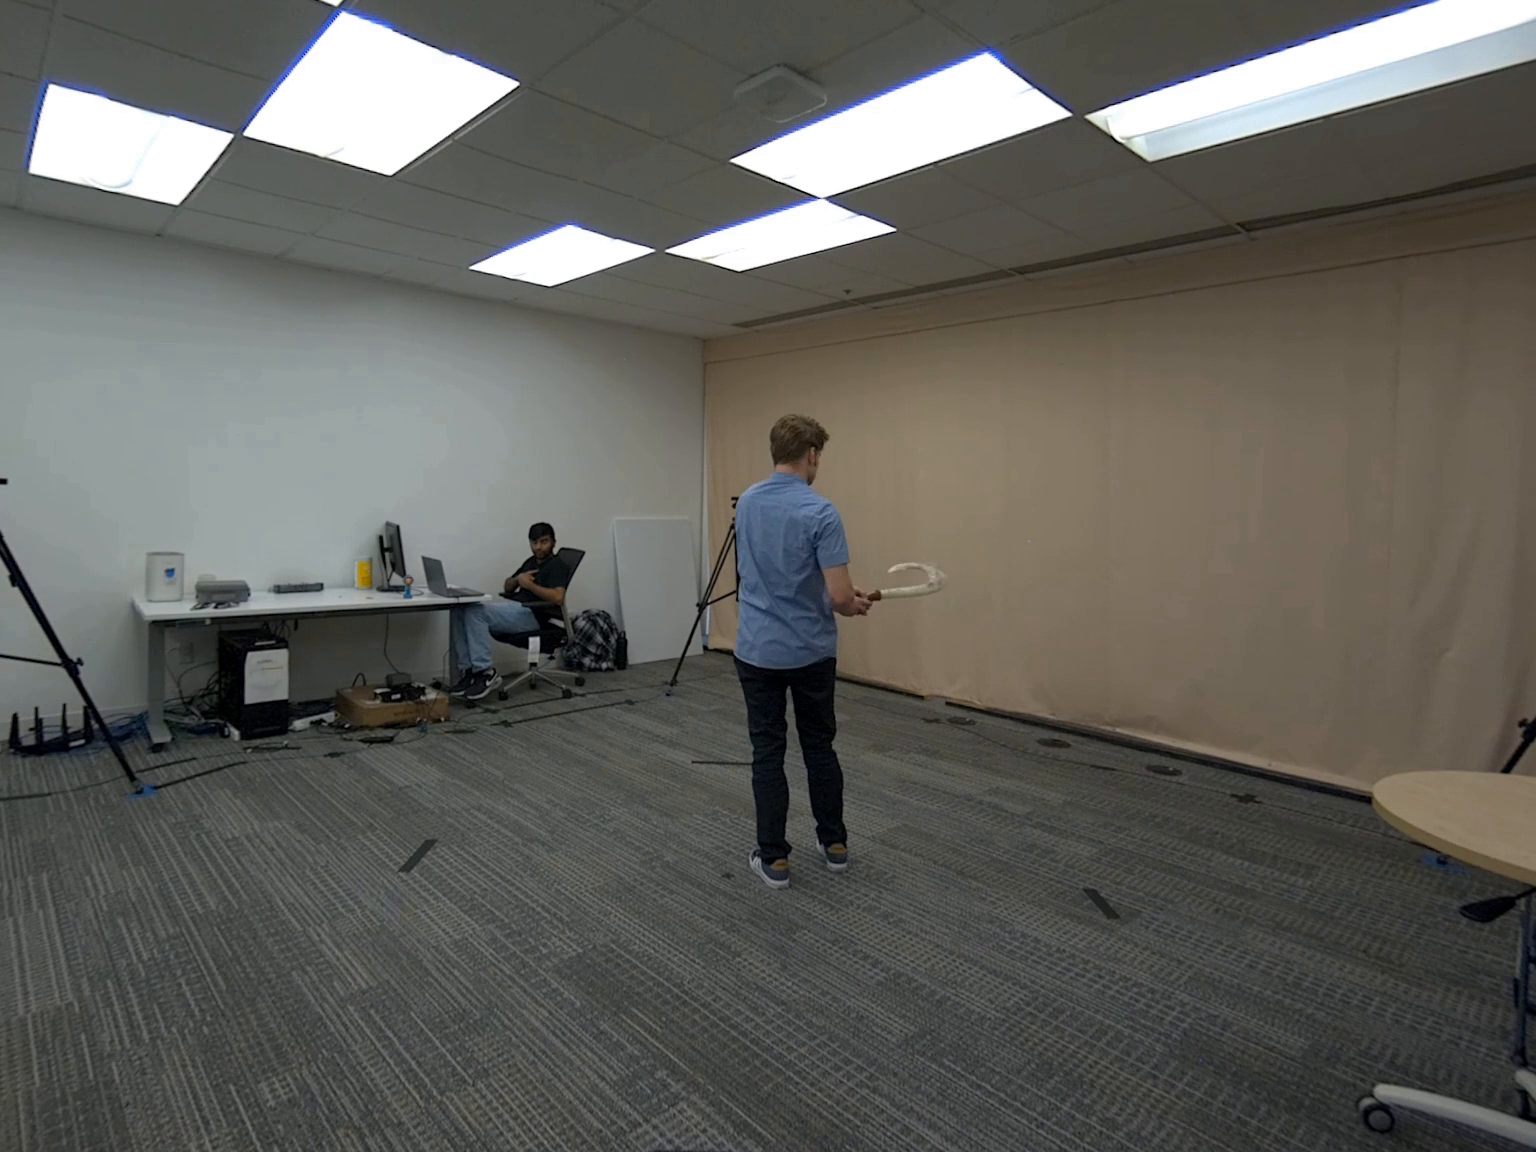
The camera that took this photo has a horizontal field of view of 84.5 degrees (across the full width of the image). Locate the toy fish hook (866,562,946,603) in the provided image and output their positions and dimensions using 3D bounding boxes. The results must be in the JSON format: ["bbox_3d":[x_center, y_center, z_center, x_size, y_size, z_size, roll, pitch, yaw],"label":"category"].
[{"bbox_3d":[0.441,0.046,3.339,0.502,0.047,0.231,-14,30,-15],"label":"toy fish hook"}]
